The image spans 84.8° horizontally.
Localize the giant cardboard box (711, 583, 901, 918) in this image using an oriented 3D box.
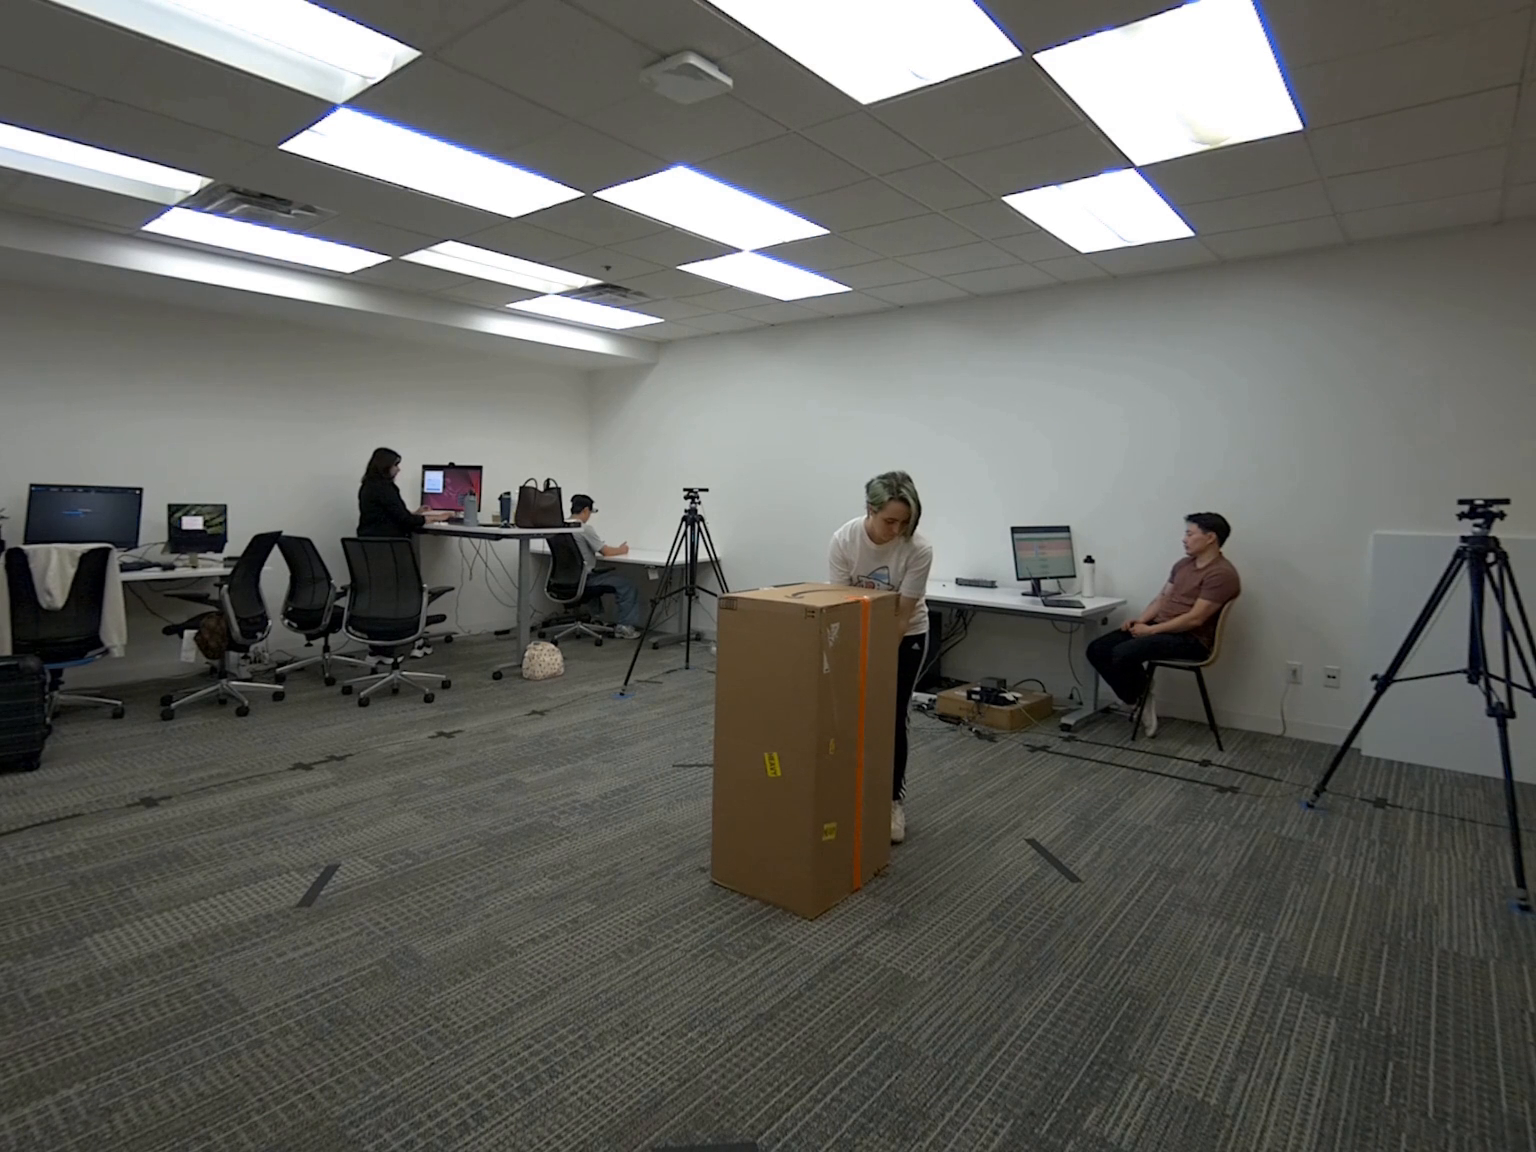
[{"bbox_3d":[0.137,0.572,3.070,0.461,1.025,0.567,3,3,35],"label":"giant cardboard box"}]
